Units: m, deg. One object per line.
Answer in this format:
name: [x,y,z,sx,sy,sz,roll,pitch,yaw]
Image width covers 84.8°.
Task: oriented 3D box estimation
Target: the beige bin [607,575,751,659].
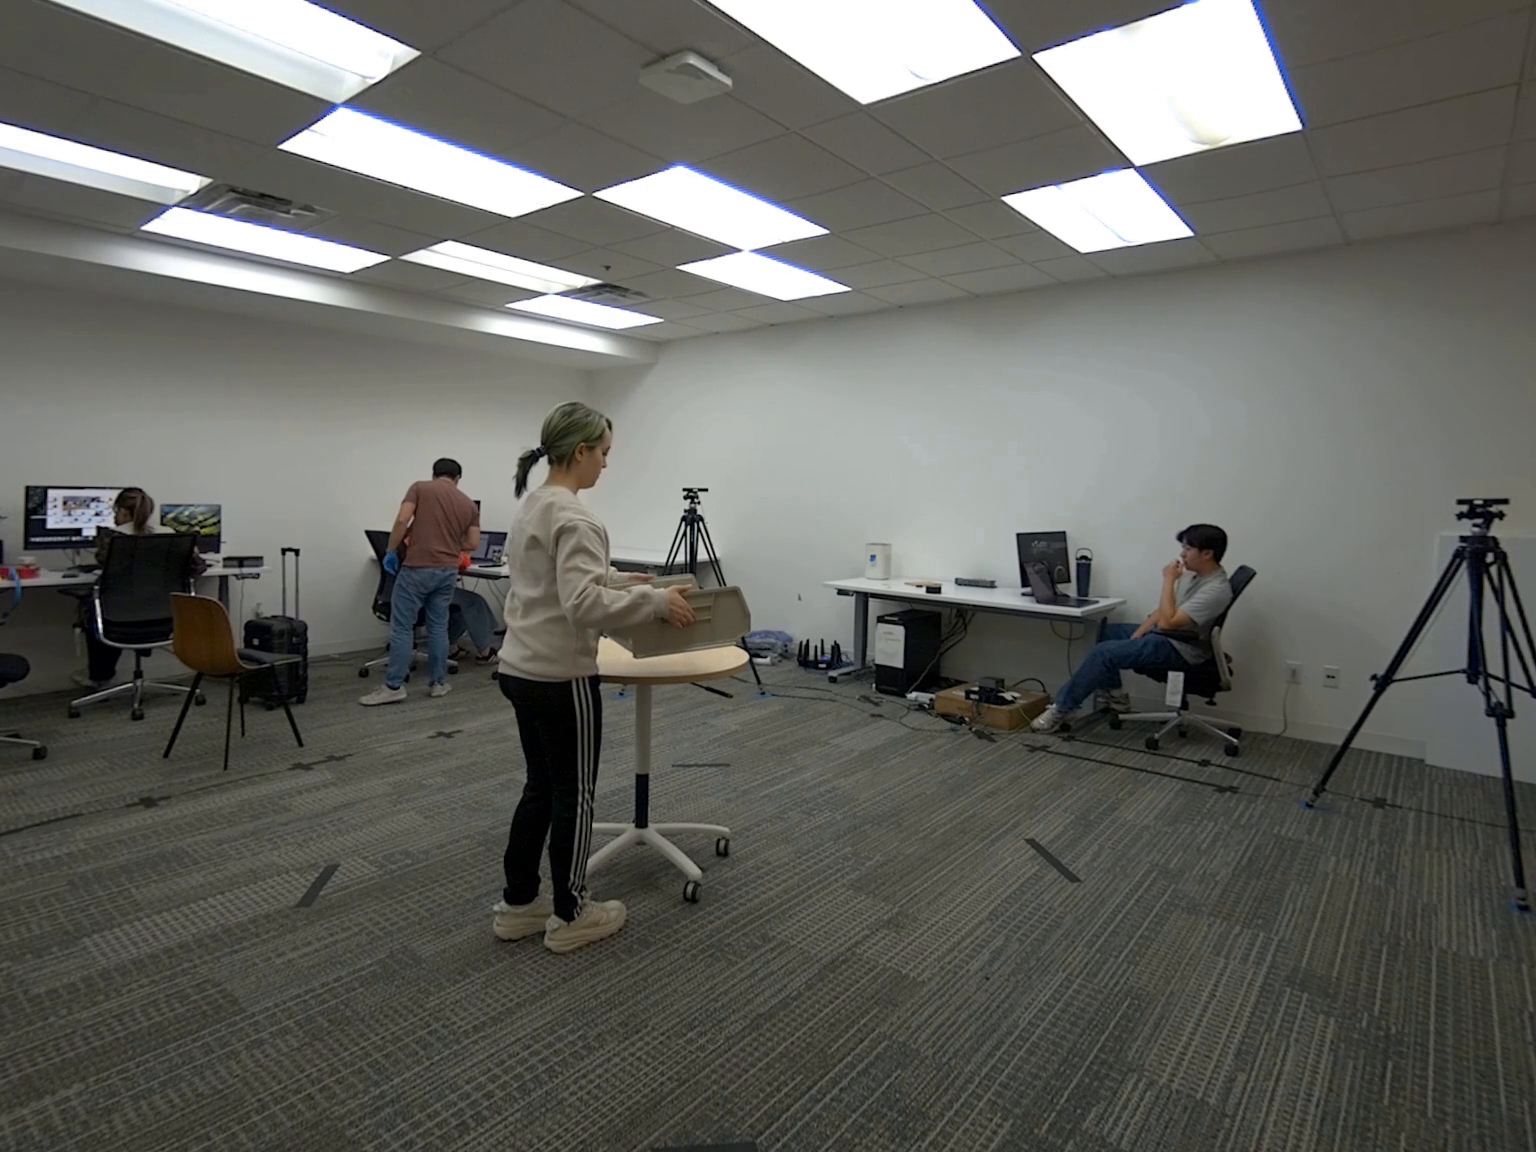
beige bin: [-0.315,0.121,2.672,0.370,0.188,0.433,-8,8,-24]
